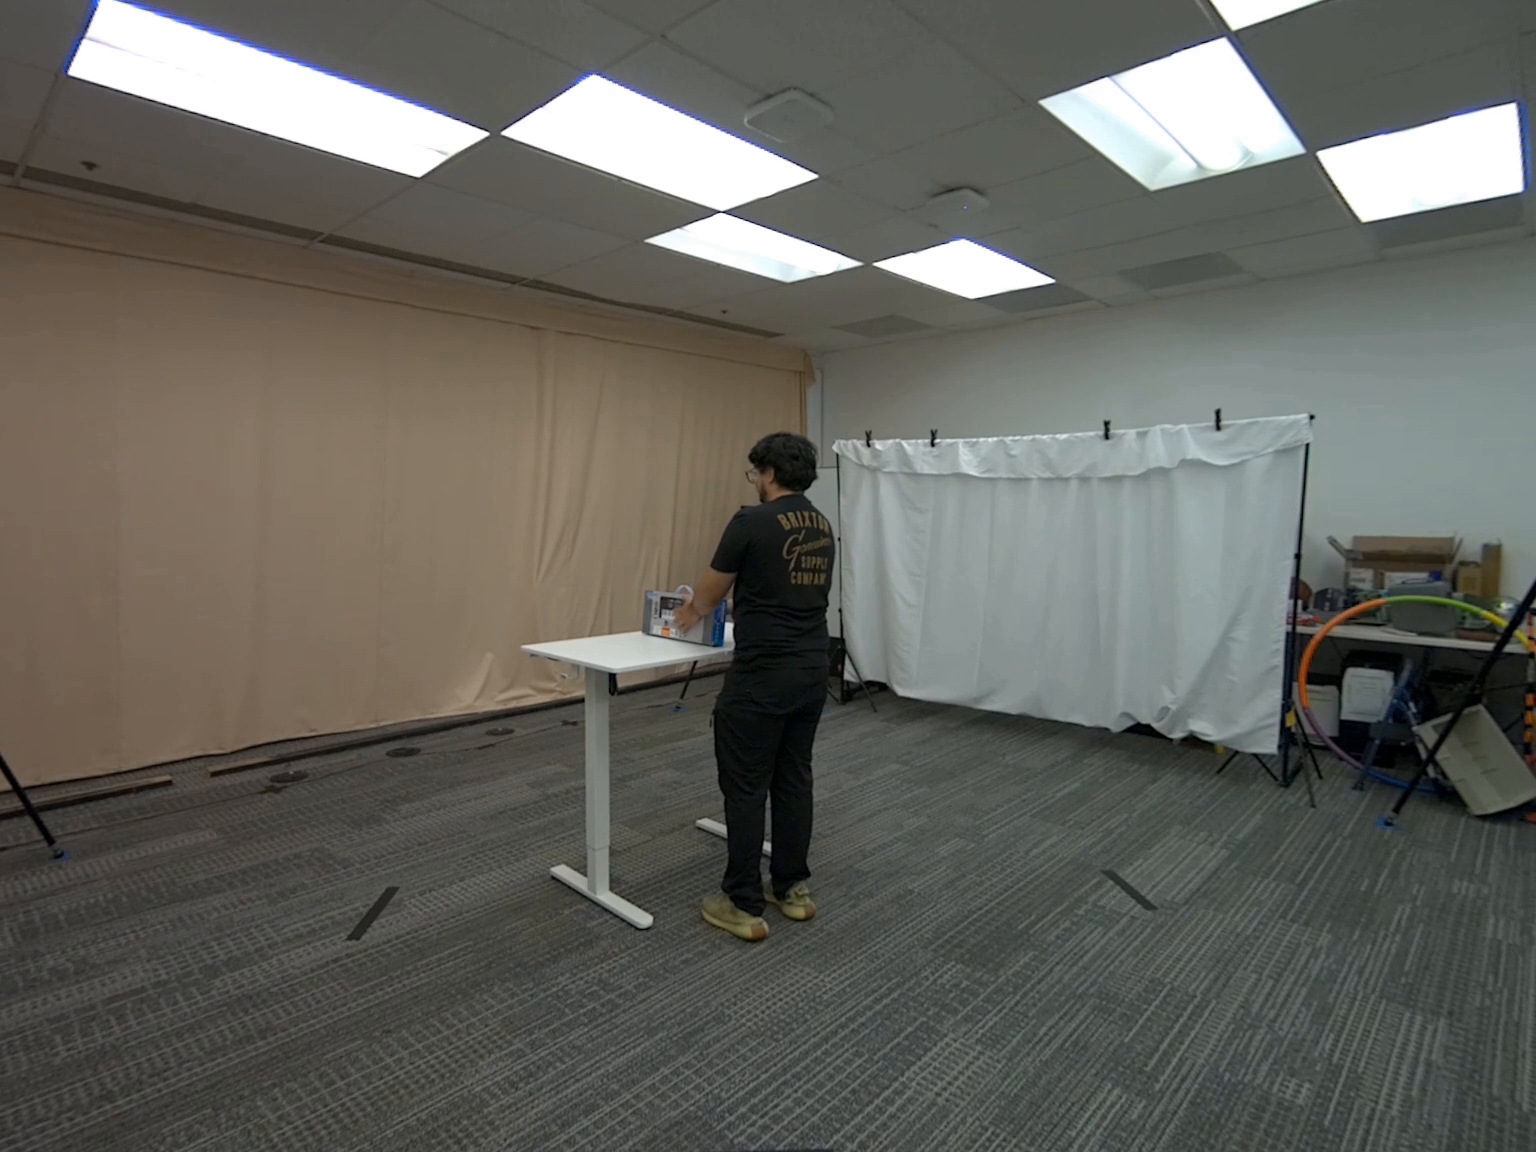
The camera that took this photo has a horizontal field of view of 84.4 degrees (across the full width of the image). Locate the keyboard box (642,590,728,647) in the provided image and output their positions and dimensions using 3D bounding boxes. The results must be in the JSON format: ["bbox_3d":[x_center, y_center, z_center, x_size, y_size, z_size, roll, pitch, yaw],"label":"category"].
[{"bbox_3d":[-0.326,0.158,3.216,0.057,0.176,0.451,6,-1,-43],"label":"keyboard box"}]
